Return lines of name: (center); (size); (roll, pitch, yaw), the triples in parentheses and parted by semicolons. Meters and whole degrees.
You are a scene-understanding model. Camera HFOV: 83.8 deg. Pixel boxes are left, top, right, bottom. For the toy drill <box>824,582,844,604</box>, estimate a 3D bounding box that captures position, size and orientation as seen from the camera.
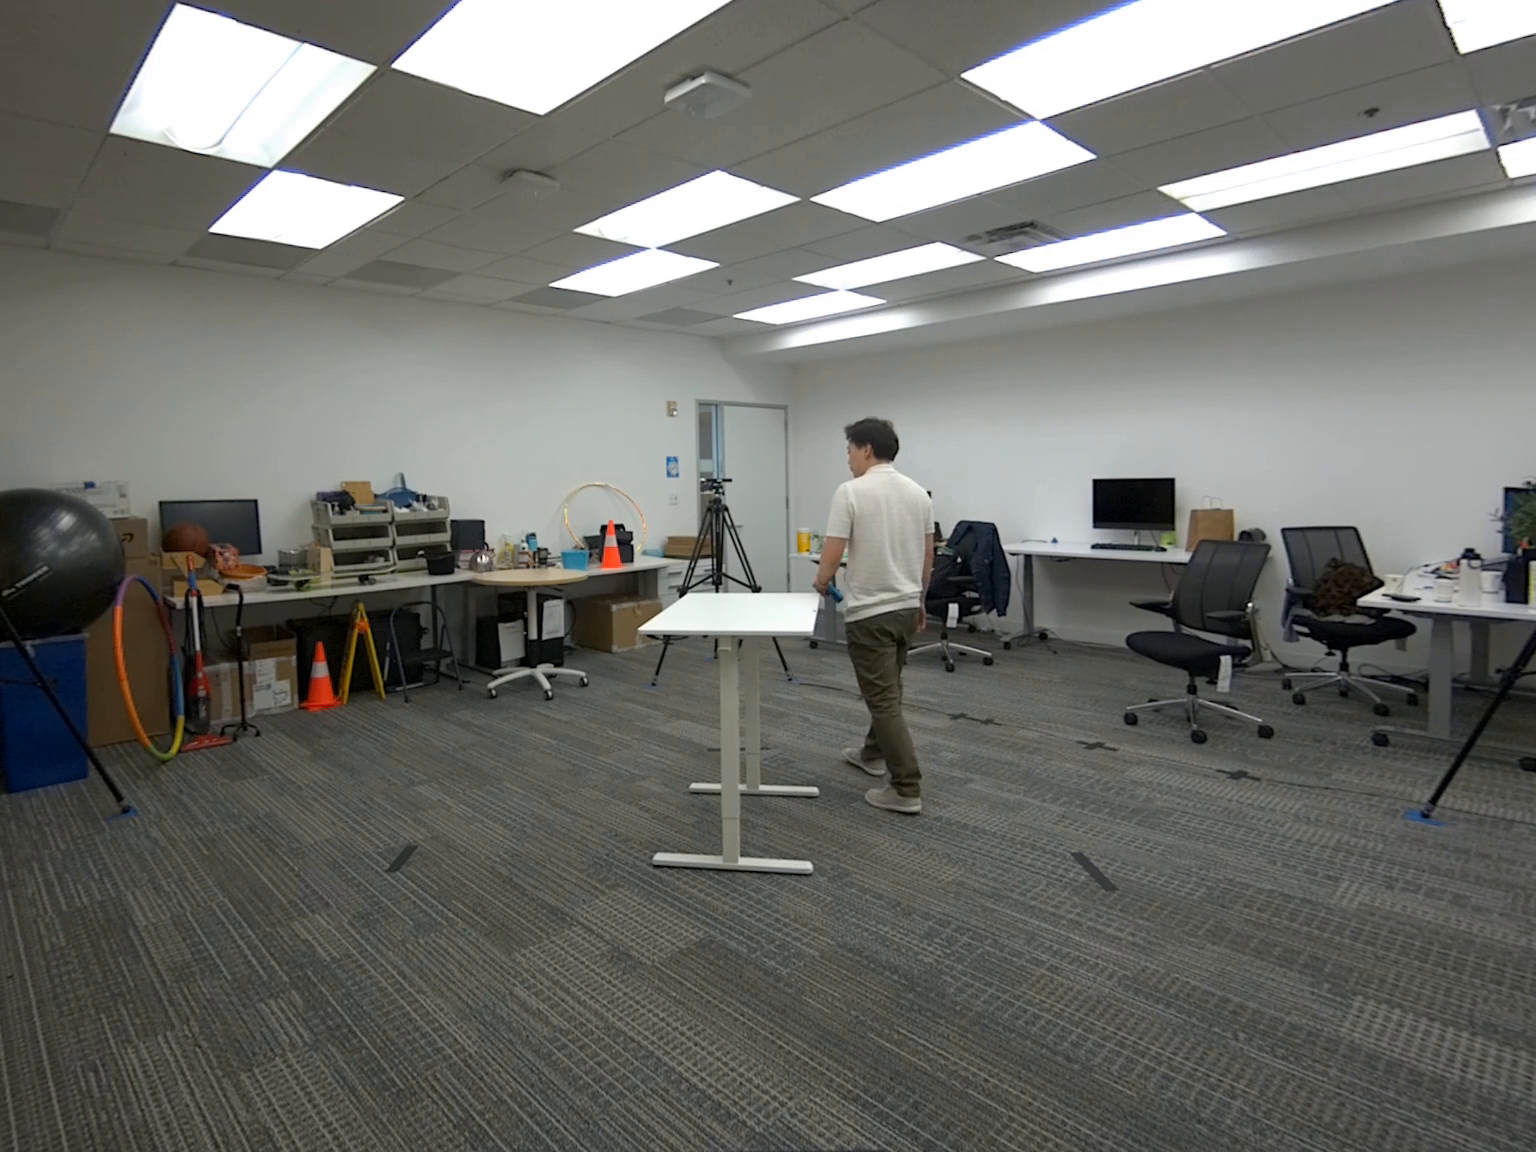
toy drill: (0.288, 0.038, 4.001); (0.141, 0.061, 0.176); (37, 18, -32)
